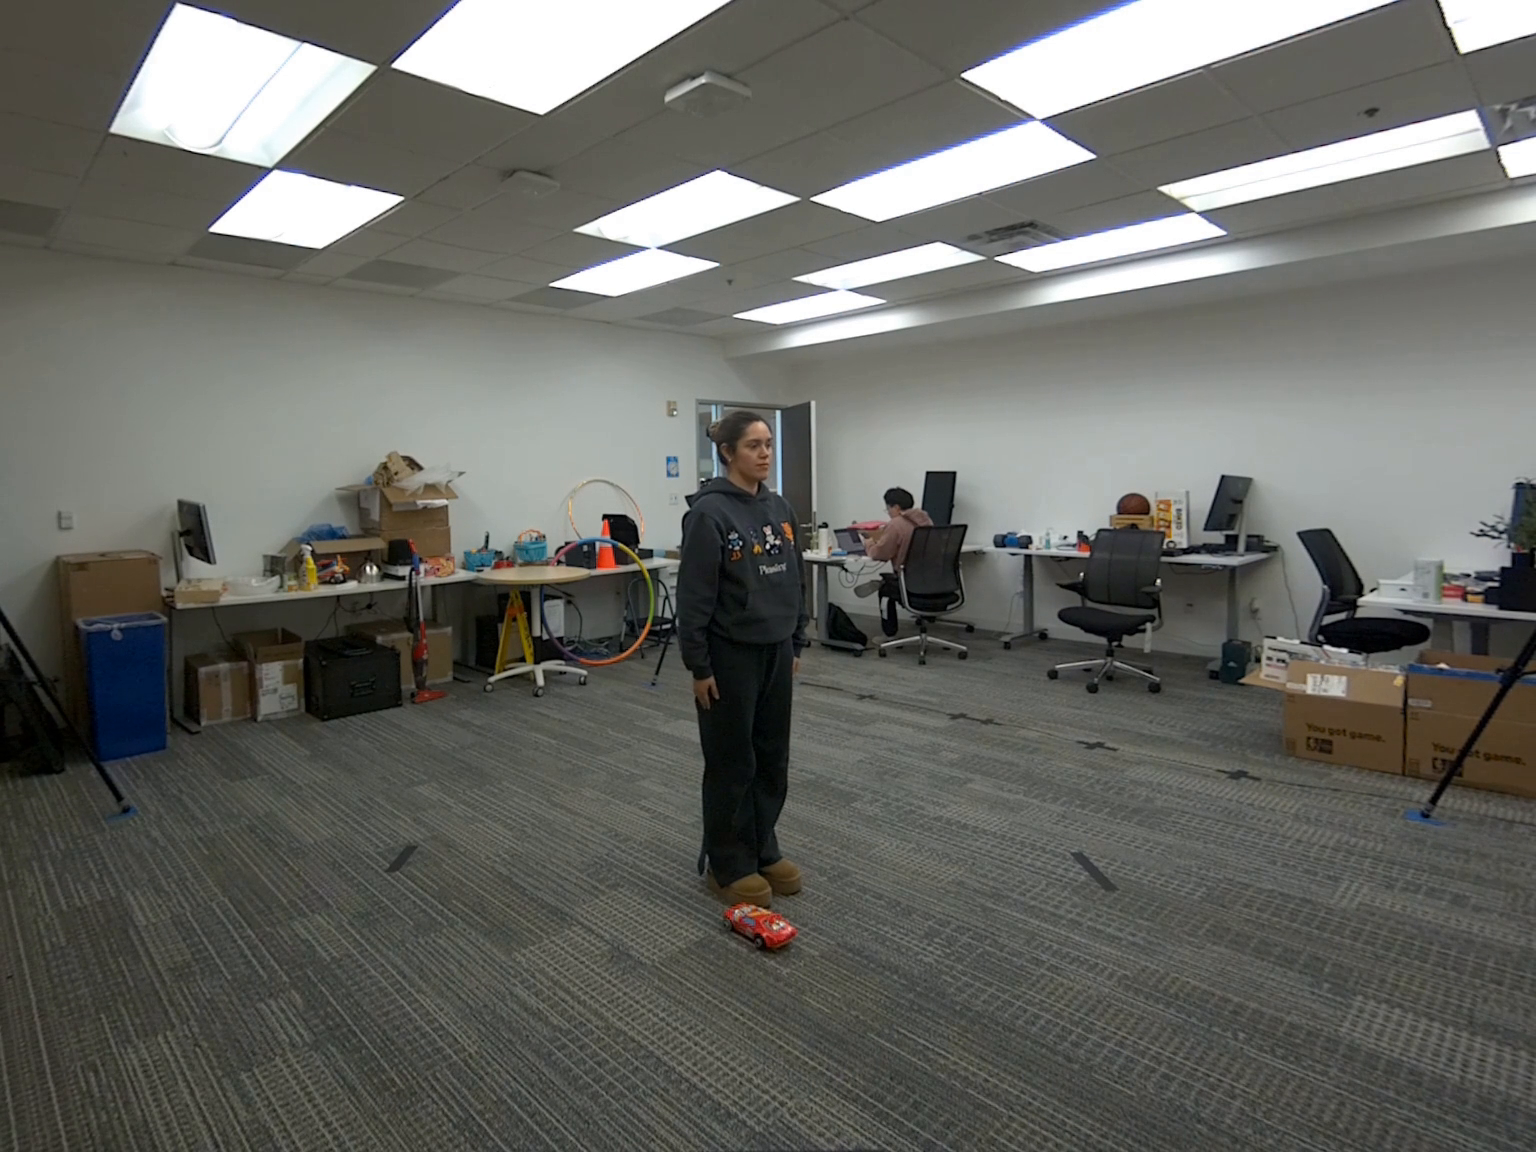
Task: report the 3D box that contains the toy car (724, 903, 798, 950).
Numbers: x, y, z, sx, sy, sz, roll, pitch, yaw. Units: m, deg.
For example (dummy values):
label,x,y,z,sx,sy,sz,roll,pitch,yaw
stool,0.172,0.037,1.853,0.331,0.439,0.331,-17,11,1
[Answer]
label,x,y,z,sx,sy,sz,roll,pitch,yaw
toy car,-0.018,1.074,2.591,0.127,0.083,0.260,-7,-2,-41
